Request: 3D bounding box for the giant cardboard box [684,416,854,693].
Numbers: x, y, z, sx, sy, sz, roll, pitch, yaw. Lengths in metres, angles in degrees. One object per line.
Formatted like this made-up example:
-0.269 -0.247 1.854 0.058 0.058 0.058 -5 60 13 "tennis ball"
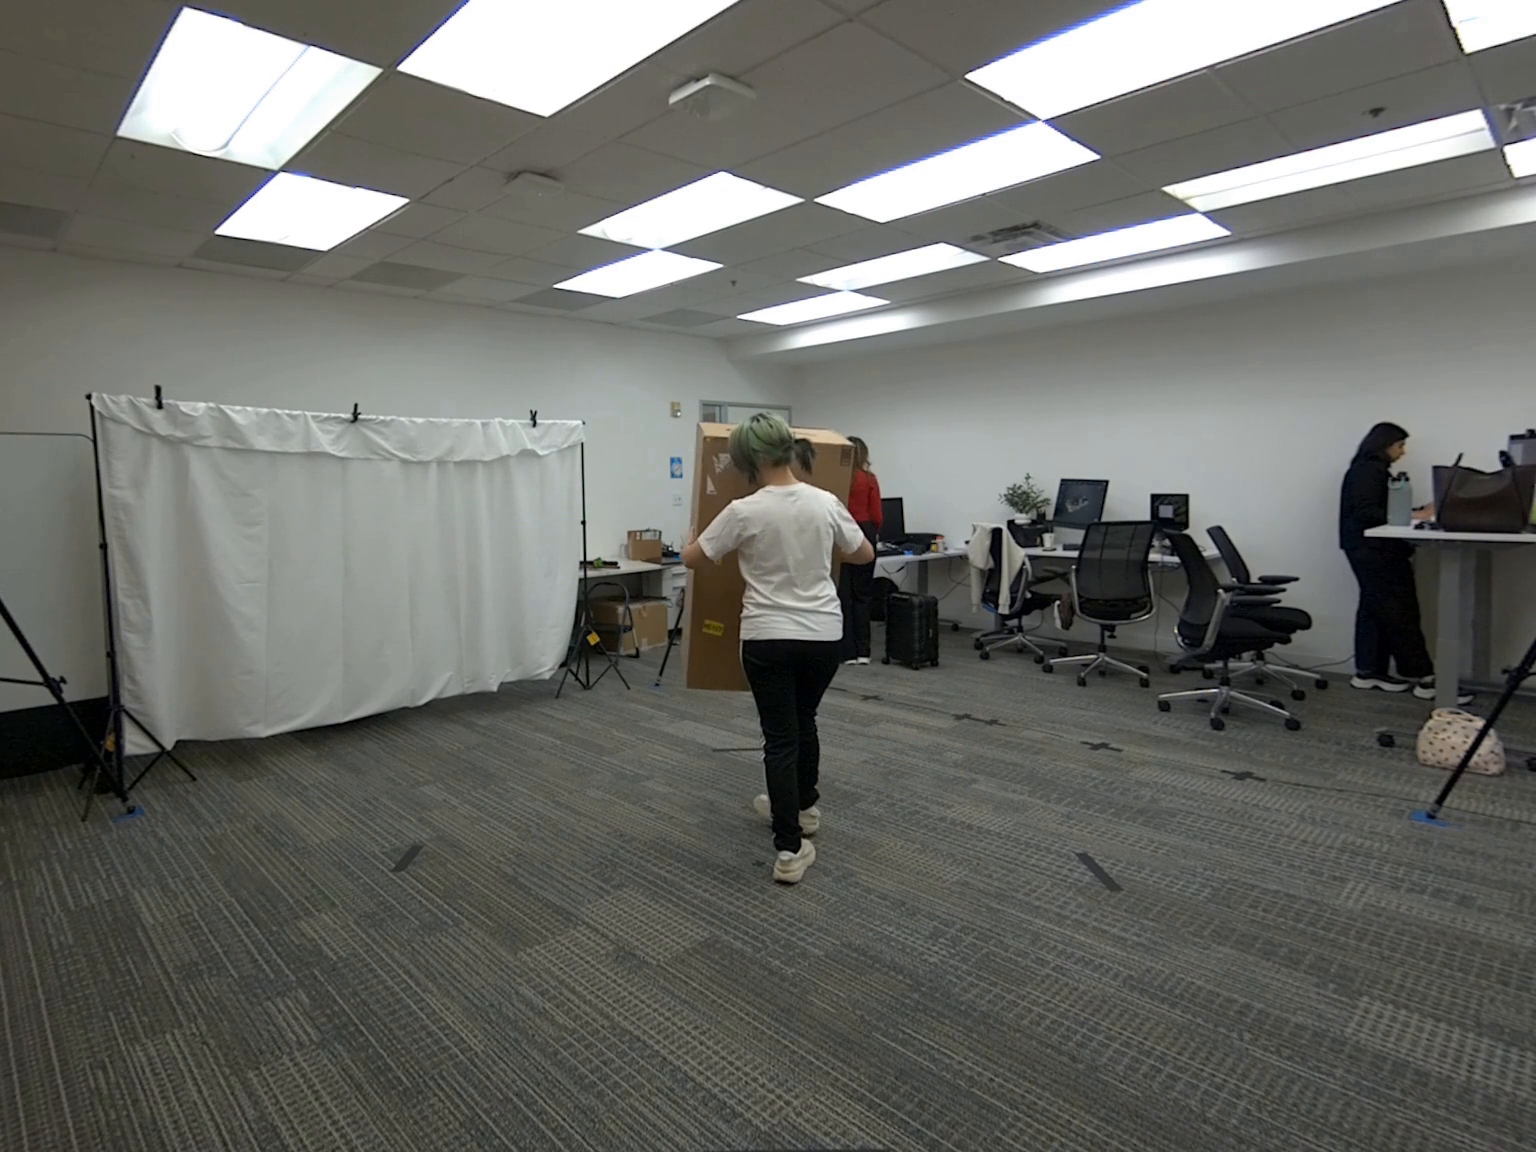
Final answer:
-0.026 -0.081 3.519 0.579 1.015 0.455 2 14 -8 "giant cardboard box"
